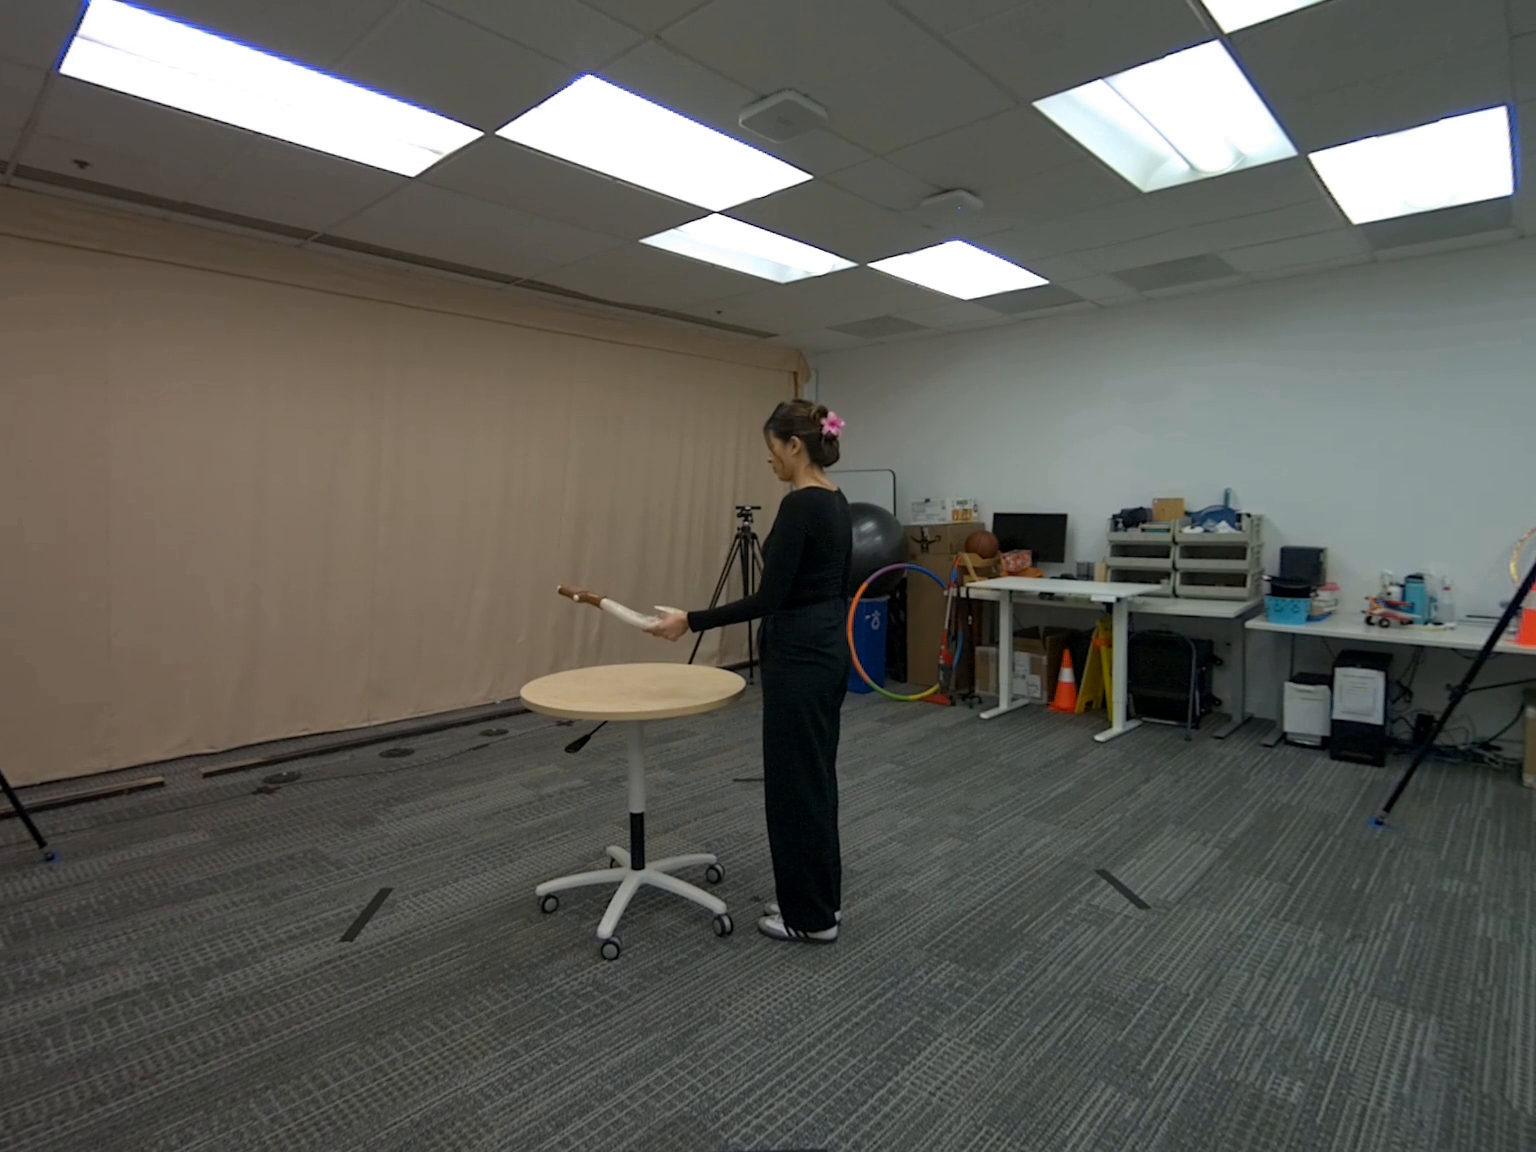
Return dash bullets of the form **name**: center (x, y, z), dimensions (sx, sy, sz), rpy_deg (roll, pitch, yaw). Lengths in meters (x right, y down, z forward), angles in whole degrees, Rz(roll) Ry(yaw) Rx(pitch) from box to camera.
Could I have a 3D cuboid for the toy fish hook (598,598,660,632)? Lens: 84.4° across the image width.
- **toy fish hook**: center (-0.461, 0.106, 2.745), dimensions (0.522, 0.048, 0.219), rpy_deg (17, 14, 28)
